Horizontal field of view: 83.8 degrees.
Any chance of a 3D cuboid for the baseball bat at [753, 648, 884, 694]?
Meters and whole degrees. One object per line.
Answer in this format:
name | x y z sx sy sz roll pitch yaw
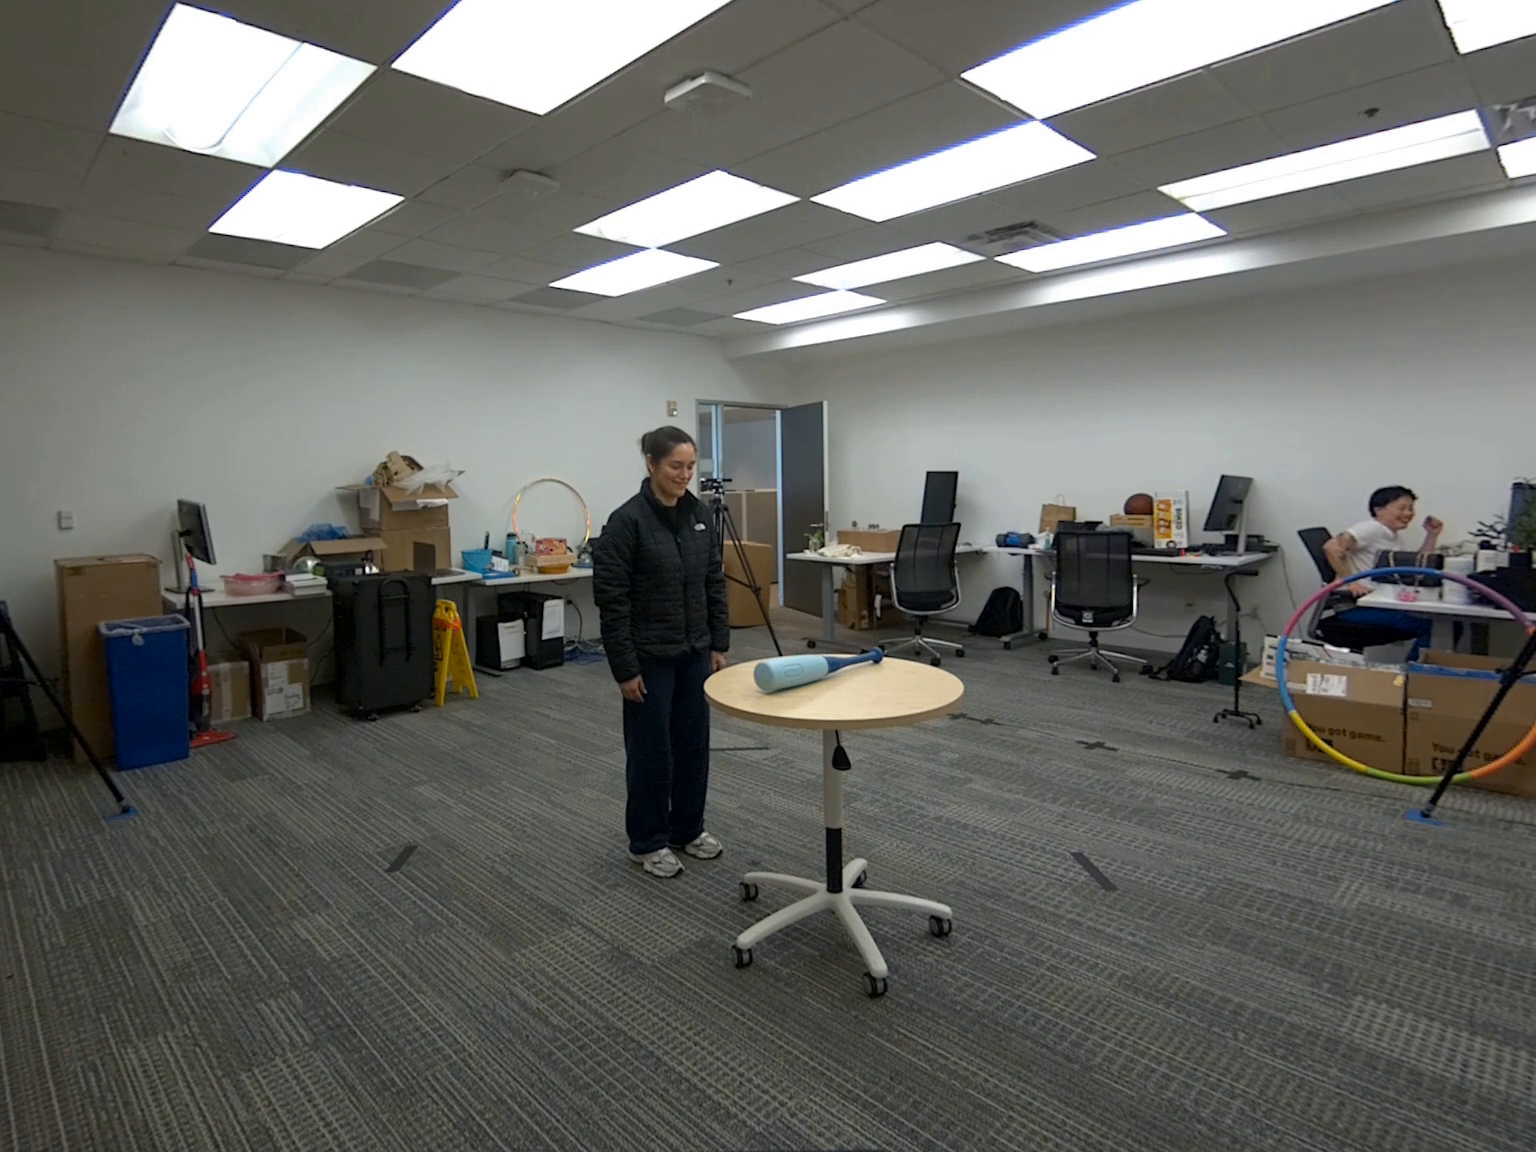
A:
baseball bat | 0.175 0.276 2.633 0.528 0.089 0.092 -3 5 -43
